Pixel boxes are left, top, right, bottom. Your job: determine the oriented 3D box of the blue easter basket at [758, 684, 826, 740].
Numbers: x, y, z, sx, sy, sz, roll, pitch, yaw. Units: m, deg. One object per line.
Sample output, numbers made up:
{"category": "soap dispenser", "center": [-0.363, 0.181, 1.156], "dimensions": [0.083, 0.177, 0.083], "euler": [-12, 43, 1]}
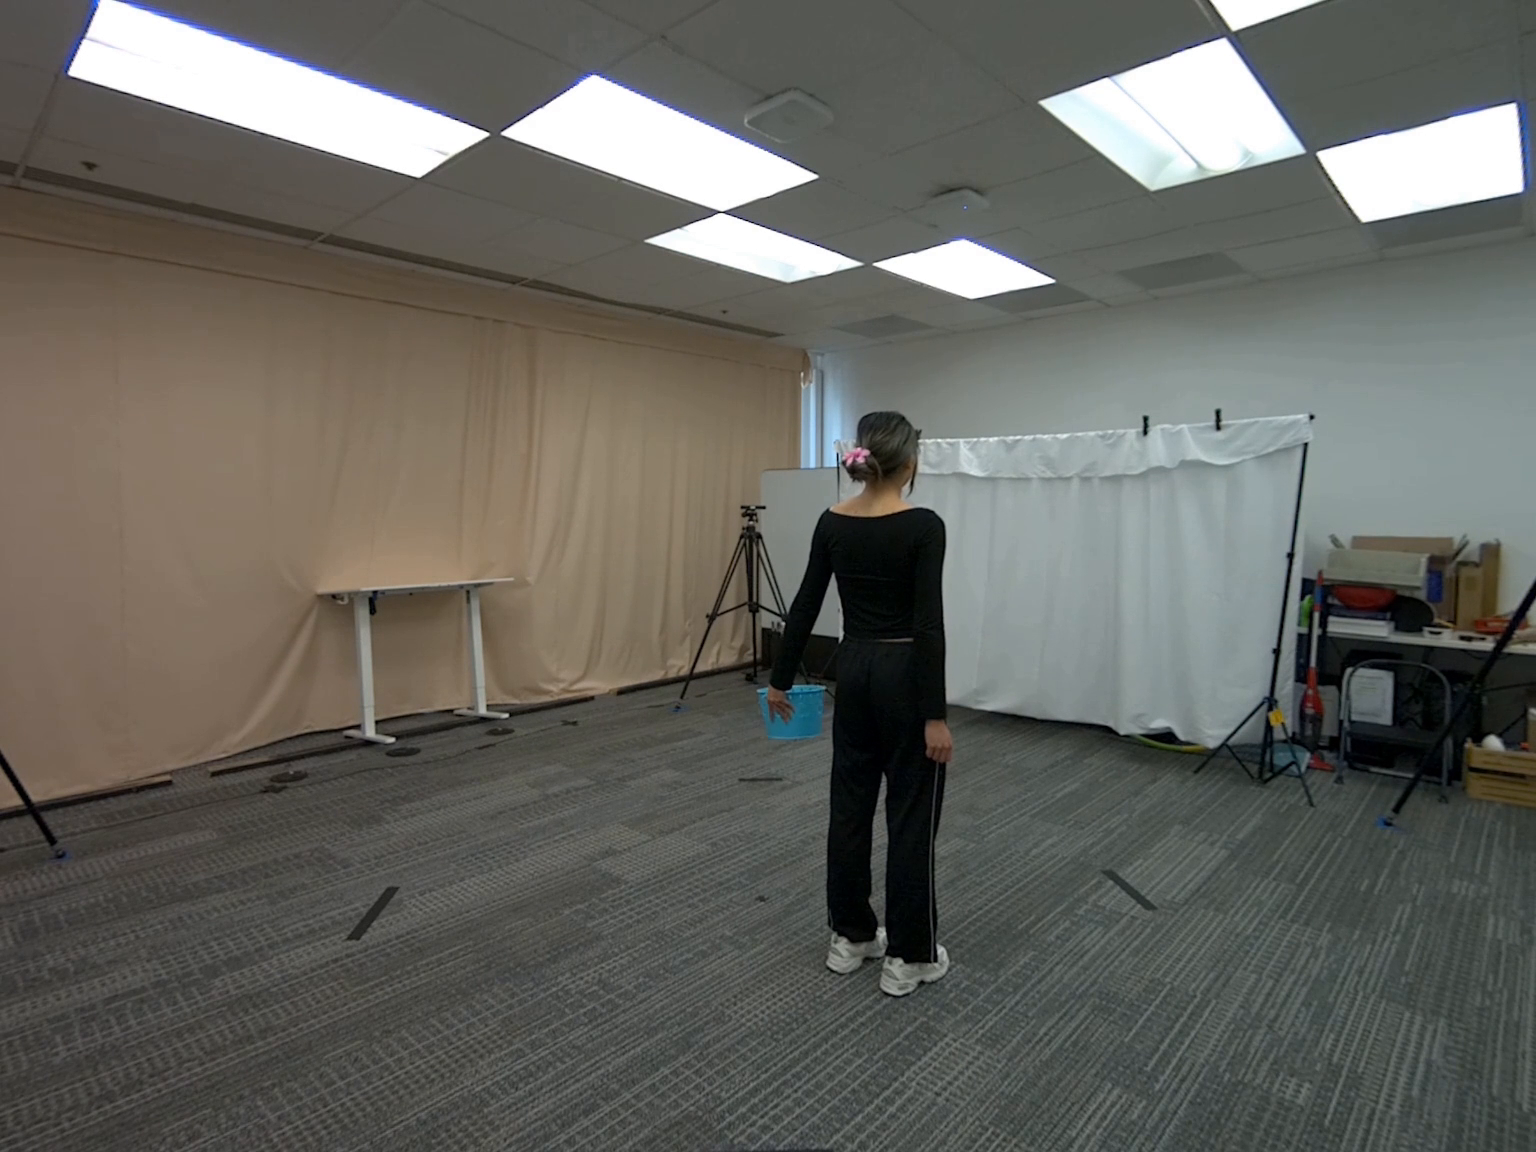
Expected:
{"category": "blue easter basket", "center": [0.087, 0.454, 2.815], "dimensions": [0.243, 0.156, 0.243], "euler": [-2, -3, -2]}
